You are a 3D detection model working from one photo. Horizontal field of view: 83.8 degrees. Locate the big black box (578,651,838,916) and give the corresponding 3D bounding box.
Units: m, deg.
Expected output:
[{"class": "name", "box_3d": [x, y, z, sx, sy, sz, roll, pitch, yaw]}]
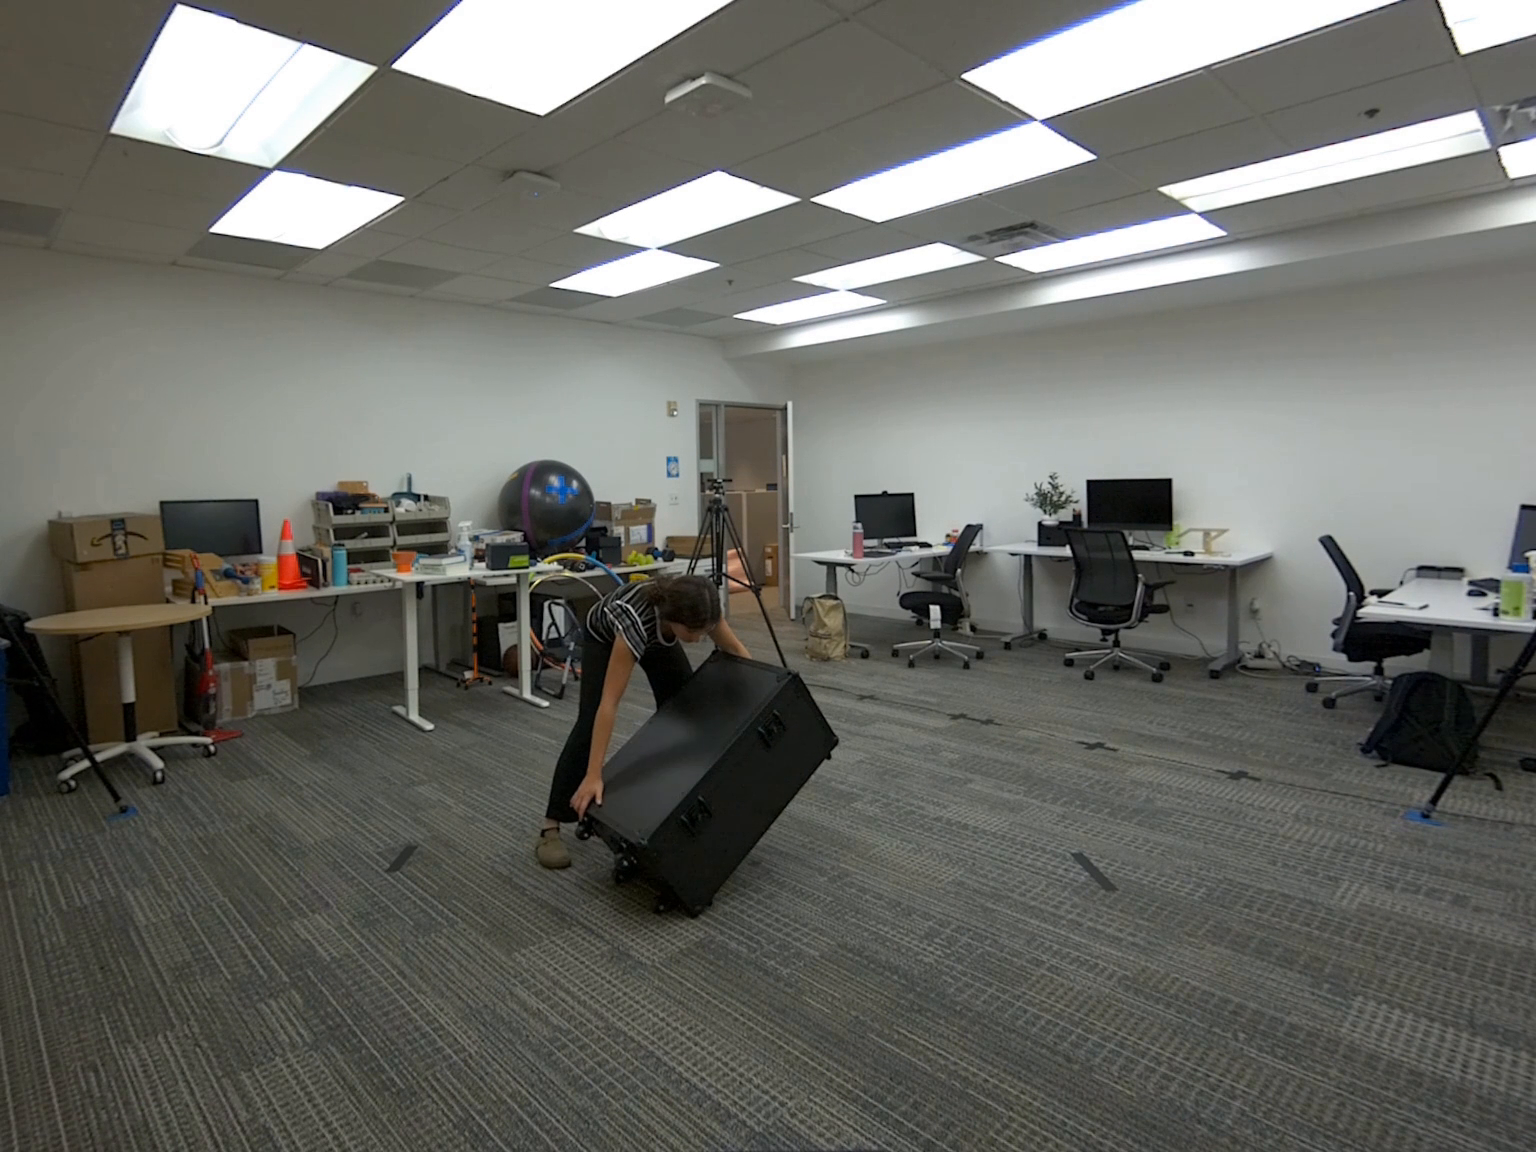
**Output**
[{"class": "big black box", "box_3d": [-0.227, 0.717, 3.010, 0.860, 0.385, 0.537, -45, 29, -26]}]
